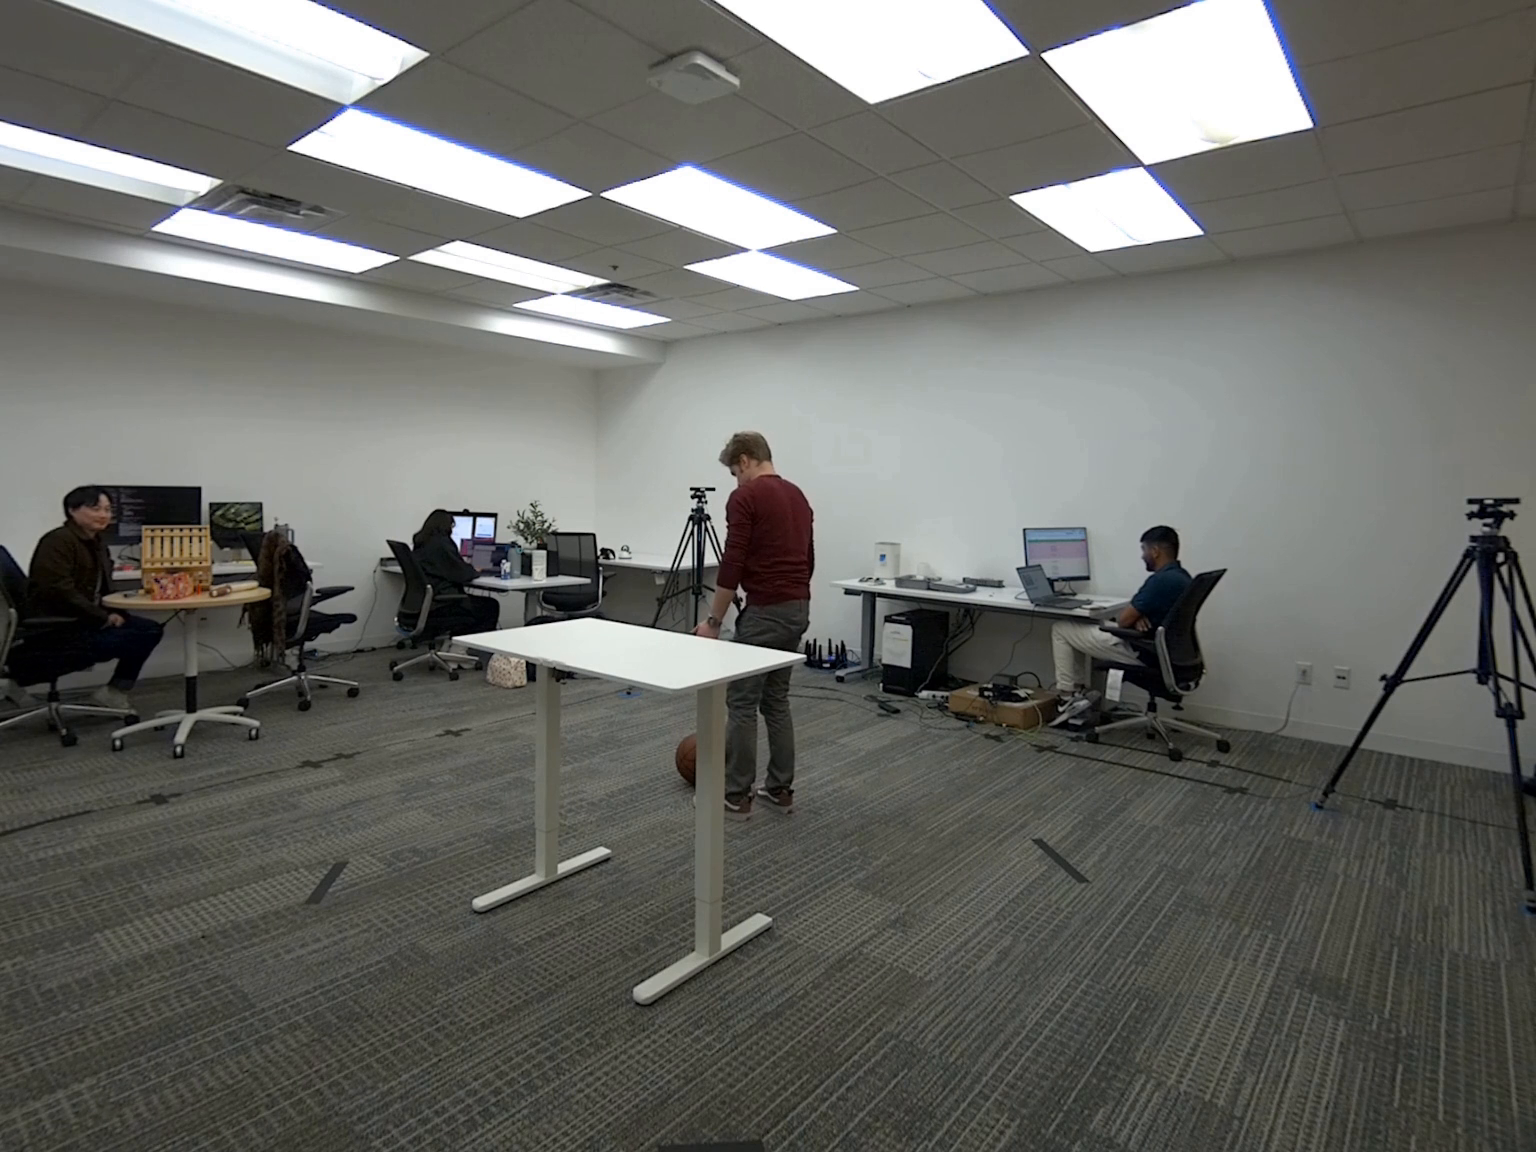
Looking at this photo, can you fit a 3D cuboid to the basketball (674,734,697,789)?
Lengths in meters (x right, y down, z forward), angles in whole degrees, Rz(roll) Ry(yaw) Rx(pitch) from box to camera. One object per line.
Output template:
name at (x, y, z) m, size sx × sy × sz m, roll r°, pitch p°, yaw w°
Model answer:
basketball at (-0.326, 0.859, 4.019) m, size 0.235 × 0.235 × 0.237 m, roll 1°, pitch 4°, yaw -2°
